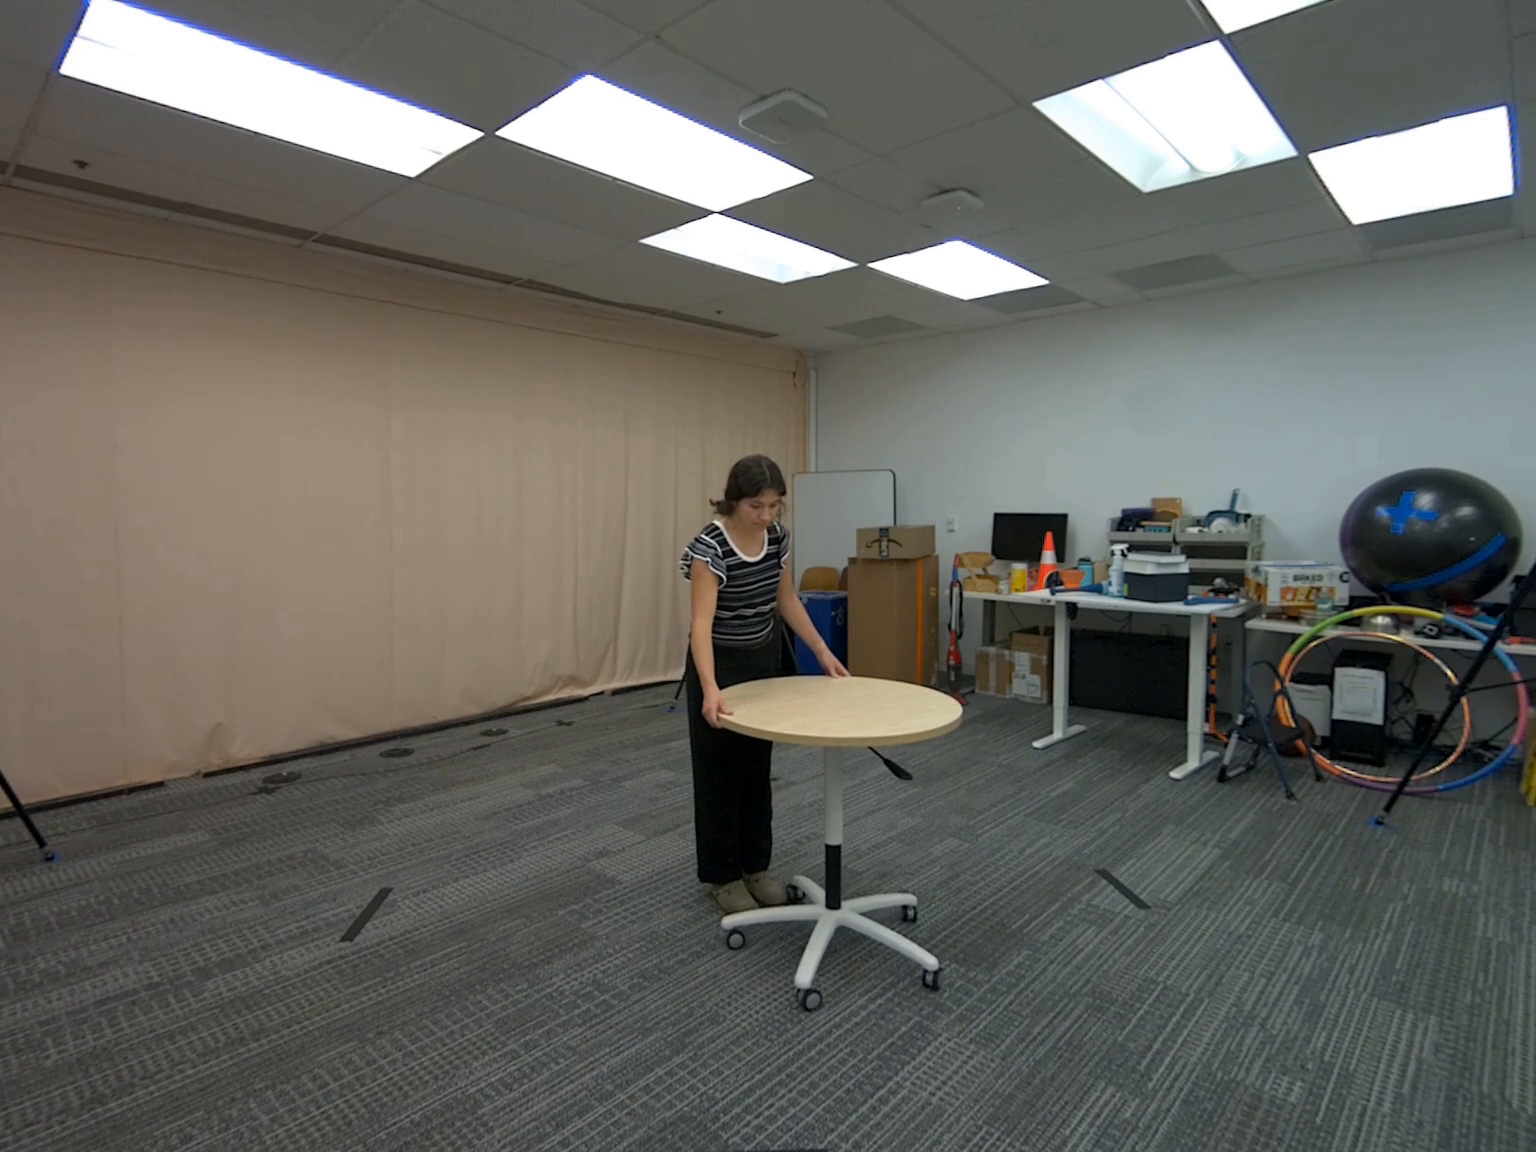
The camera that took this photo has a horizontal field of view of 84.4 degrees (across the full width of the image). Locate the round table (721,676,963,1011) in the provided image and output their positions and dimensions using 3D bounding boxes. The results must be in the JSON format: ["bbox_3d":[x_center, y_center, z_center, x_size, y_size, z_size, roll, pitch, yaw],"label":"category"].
[{"bbox_3d":[0.198,0.778,2.621,0.784,0.784,0.788,0,4,-2],"label":"round table"}]
